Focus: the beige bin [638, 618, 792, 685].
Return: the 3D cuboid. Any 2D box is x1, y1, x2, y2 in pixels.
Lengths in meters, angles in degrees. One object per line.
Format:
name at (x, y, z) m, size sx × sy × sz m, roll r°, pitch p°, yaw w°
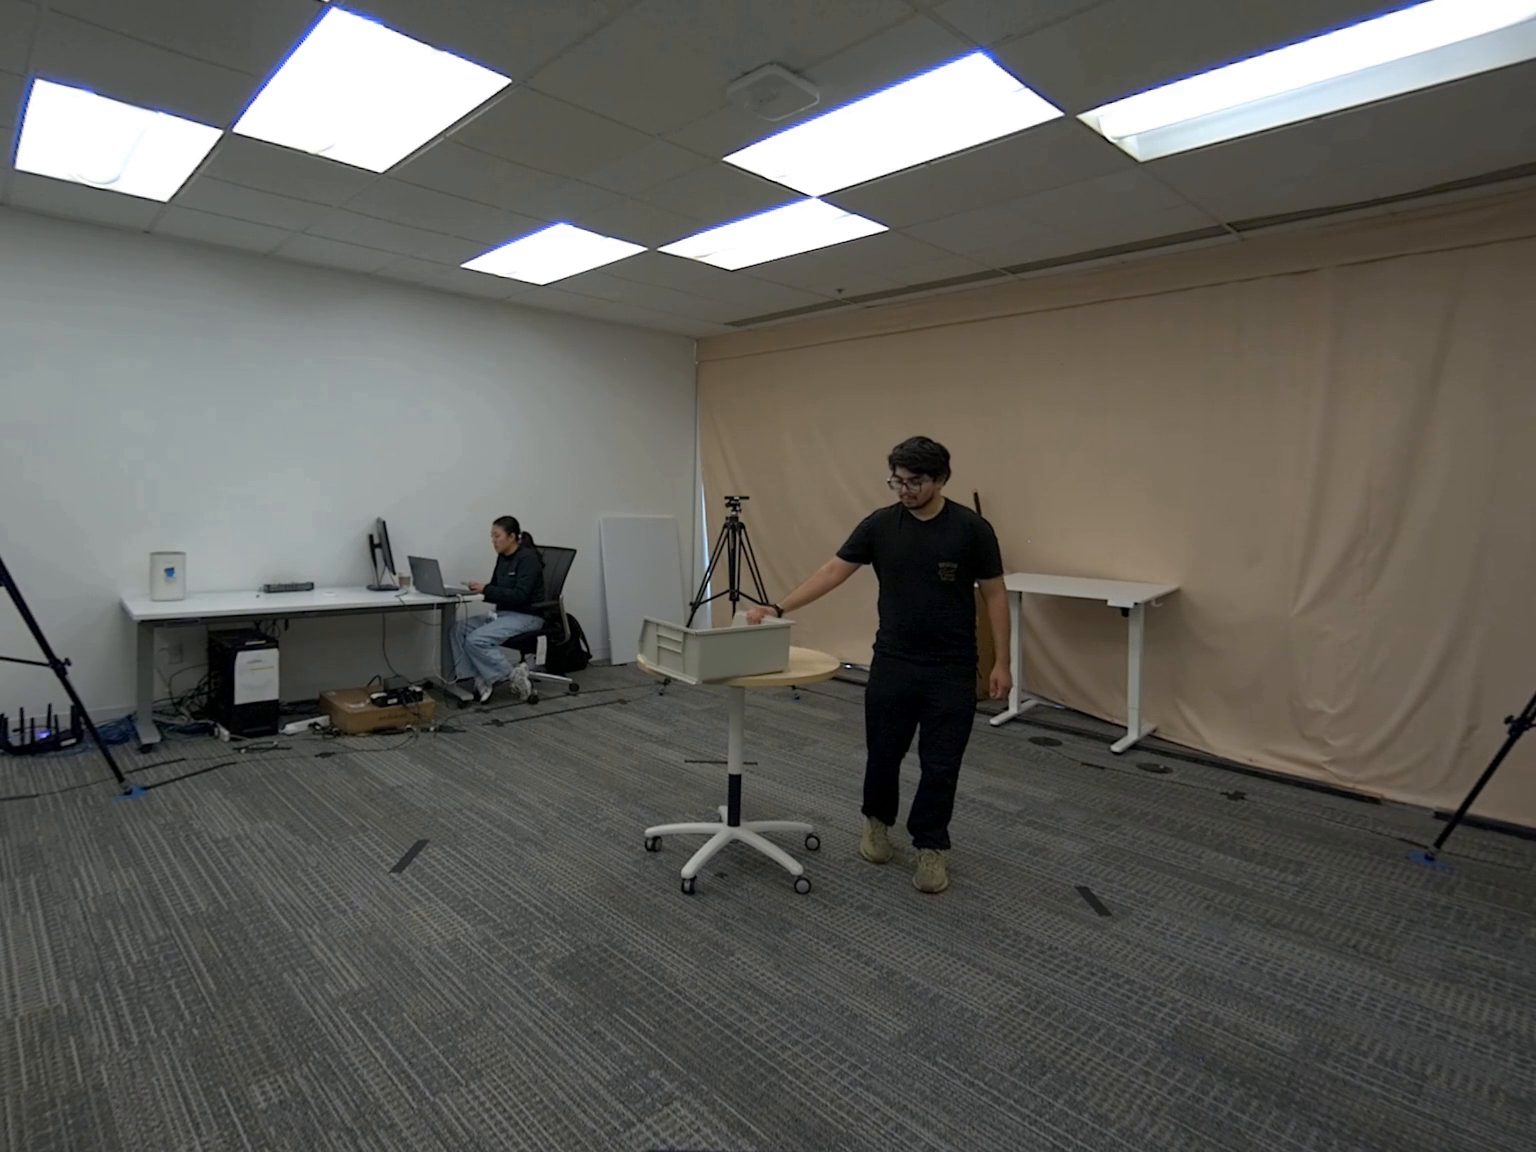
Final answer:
beige bin at (-0.191, 0.240, 2.966) m, size 0.413 × 0.188 × 0.387 m, roll -2°, pitch 8°, yaw -37°
